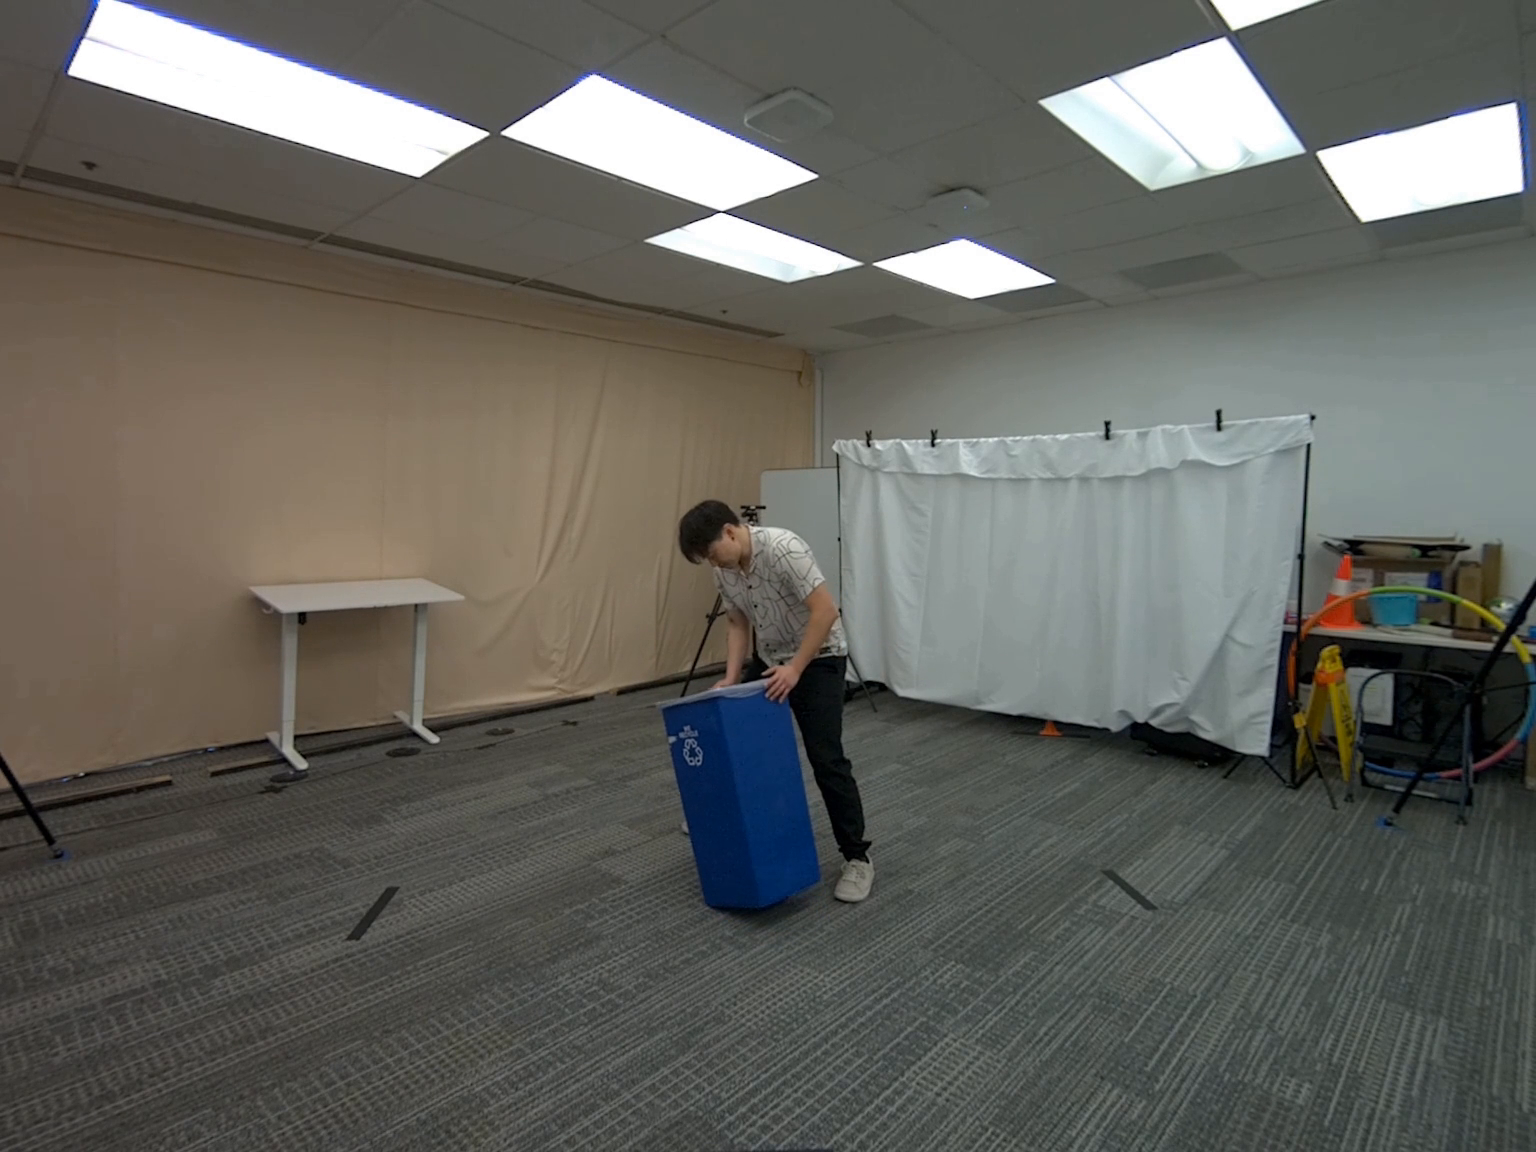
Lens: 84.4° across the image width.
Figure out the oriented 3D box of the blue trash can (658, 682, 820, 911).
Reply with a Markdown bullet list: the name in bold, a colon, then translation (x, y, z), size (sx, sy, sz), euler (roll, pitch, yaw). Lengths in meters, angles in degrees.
- **blue trash can**: translation (-0.089, 0.759, 2.983), size (0.362, 0.720, 0.386), euler (-2, -14, -44)
